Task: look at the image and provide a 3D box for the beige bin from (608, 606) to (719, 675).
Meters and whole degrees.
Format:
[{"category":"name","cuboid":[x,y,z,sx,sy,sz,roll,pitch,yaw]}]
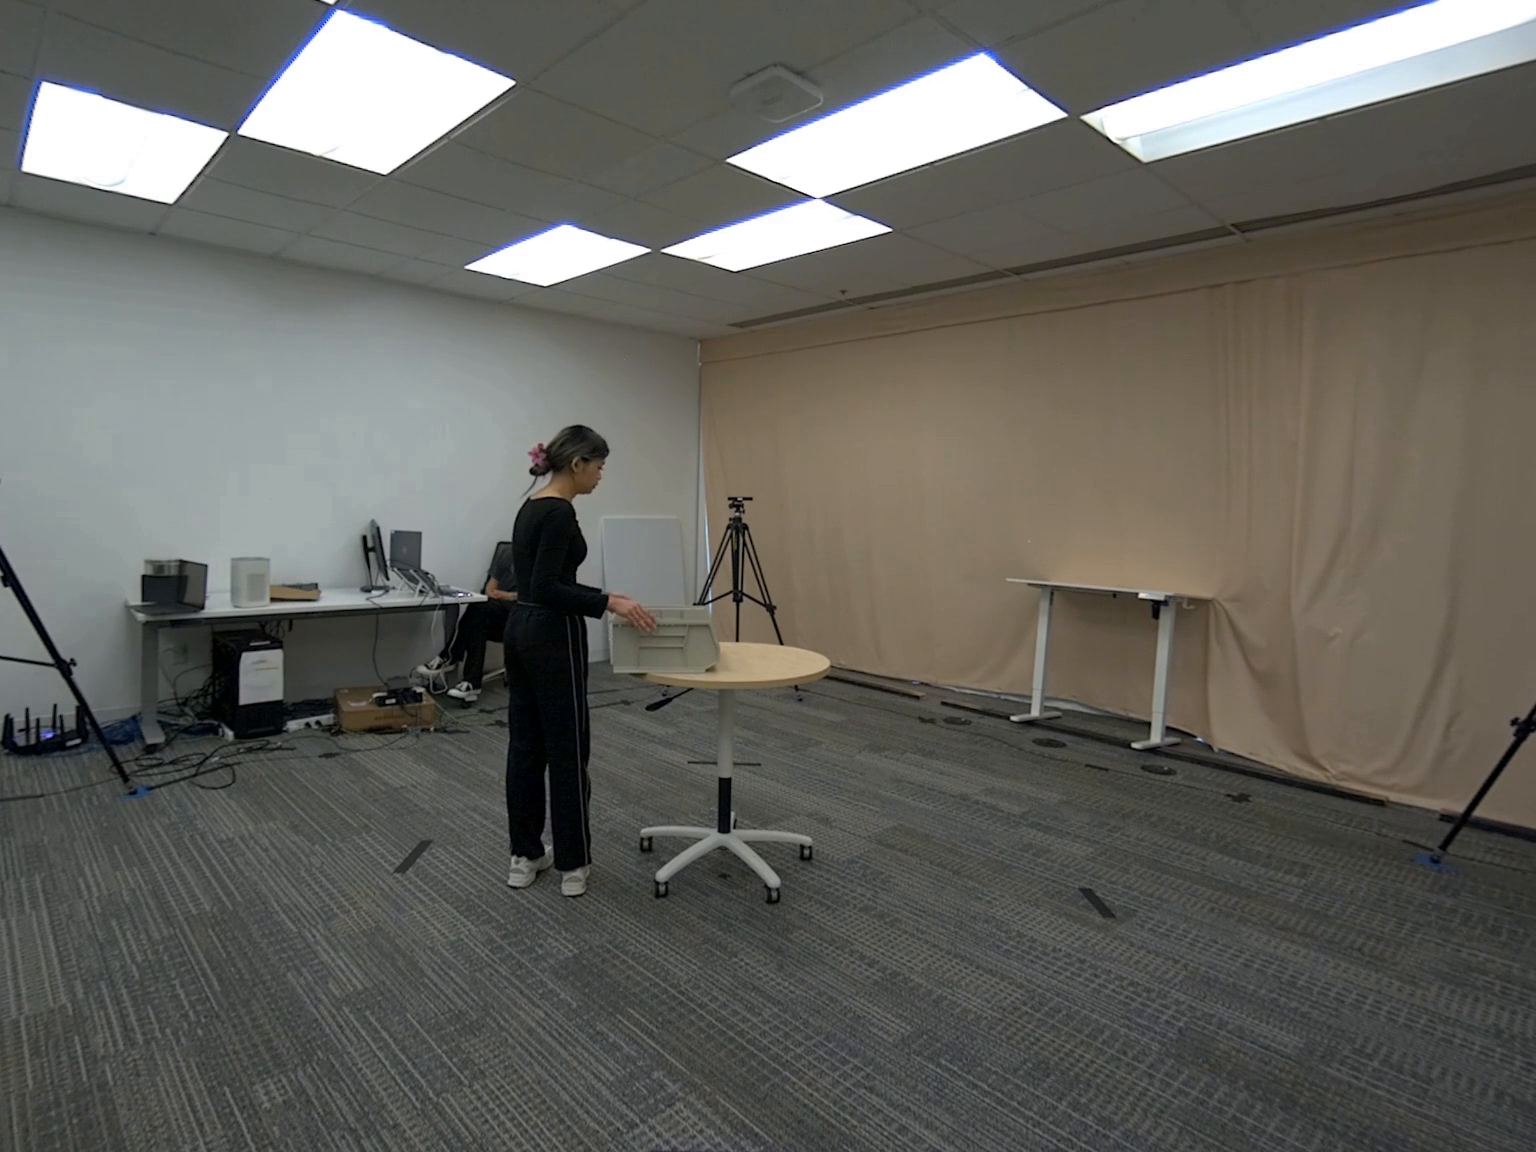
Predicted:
[{"category":"beige bin","cuboid":[-0.375,0.224,3.071,0.376,0.188,0.425,1,5,-4]}]
